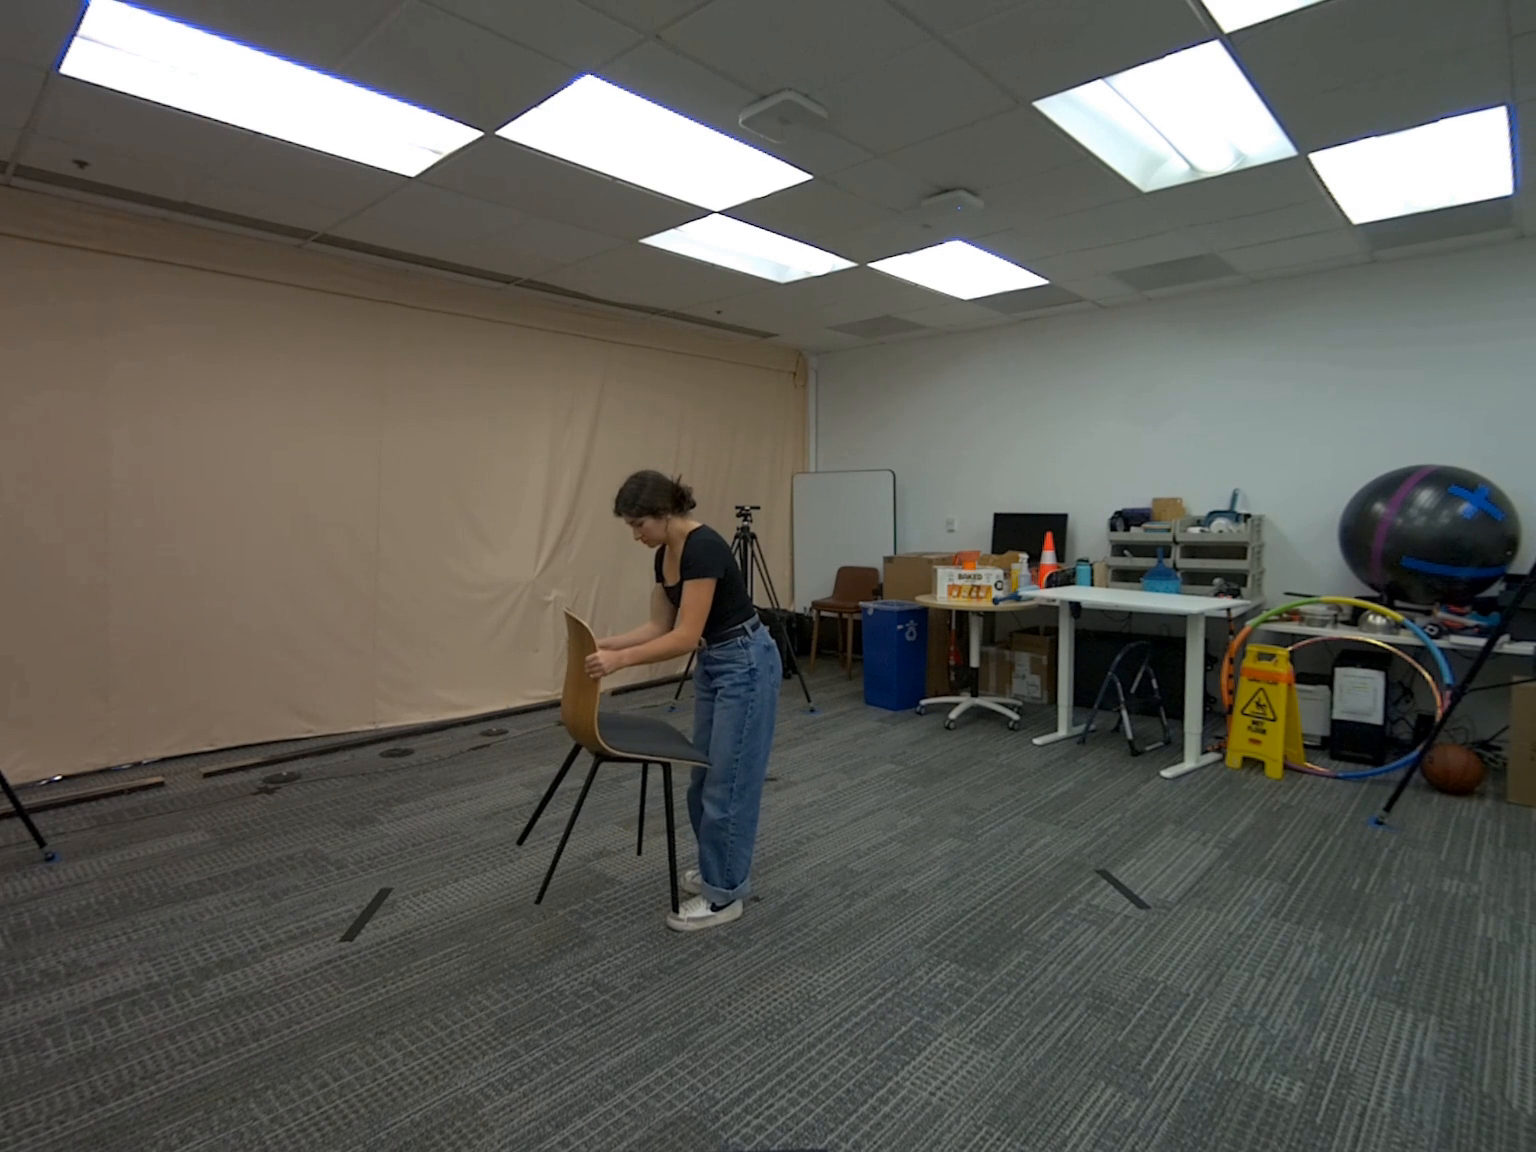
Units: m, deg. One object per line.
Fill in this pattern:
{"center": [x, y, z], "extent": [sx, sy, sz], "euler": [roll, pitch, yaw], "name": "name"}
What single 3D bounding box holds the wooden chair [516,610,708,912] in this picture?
{"center": [-0.470, 0.576, 2.744], "extent": [0.511, 0.877, 0.490], "euler": [9, 1, -23], "name": "wooden chair"}
